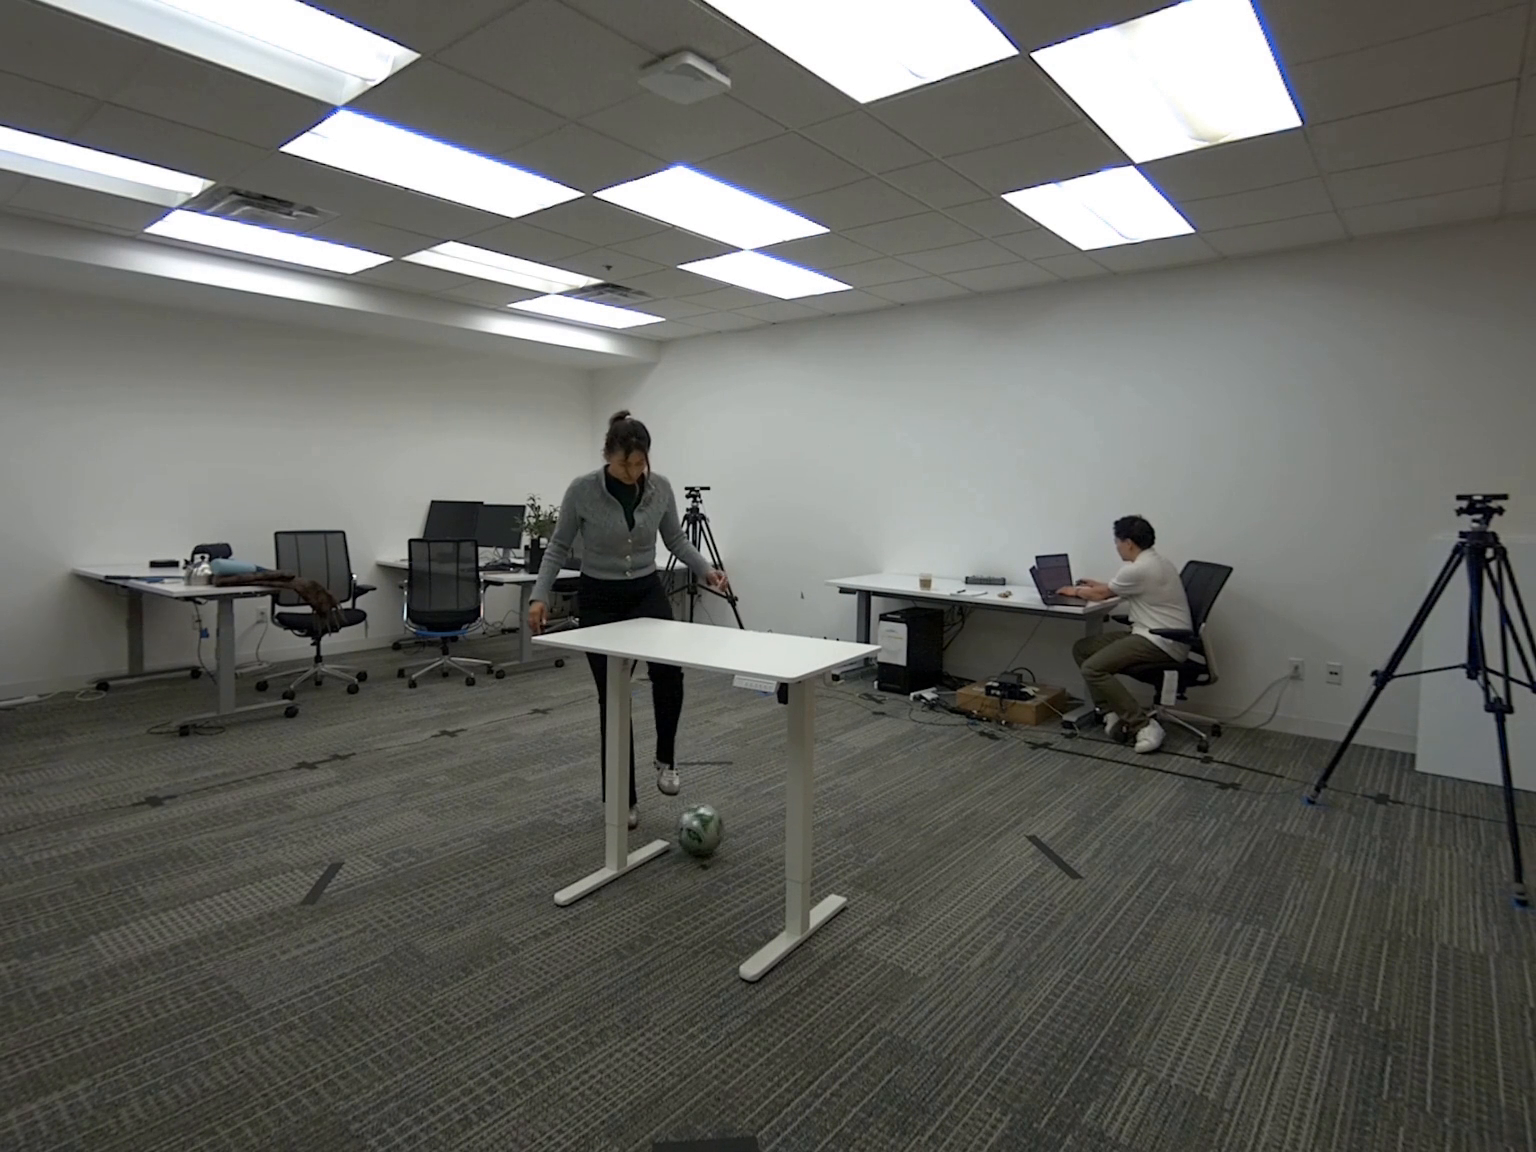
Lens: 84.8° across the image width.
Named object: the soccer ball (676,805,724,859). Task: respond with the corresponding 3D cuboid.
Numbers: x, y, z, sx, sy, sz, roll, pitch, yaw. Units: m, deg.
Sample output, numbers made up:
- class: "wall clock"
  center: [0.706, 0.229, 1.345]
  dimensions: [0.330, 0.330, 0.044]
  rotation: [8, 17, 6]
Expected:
- class: "soccer ball"
  center: [-0.254, 0.955, 3.218]
  dimensions: [0.187, 0.187, 0.188]
  rotation: [0, 4, -2]
